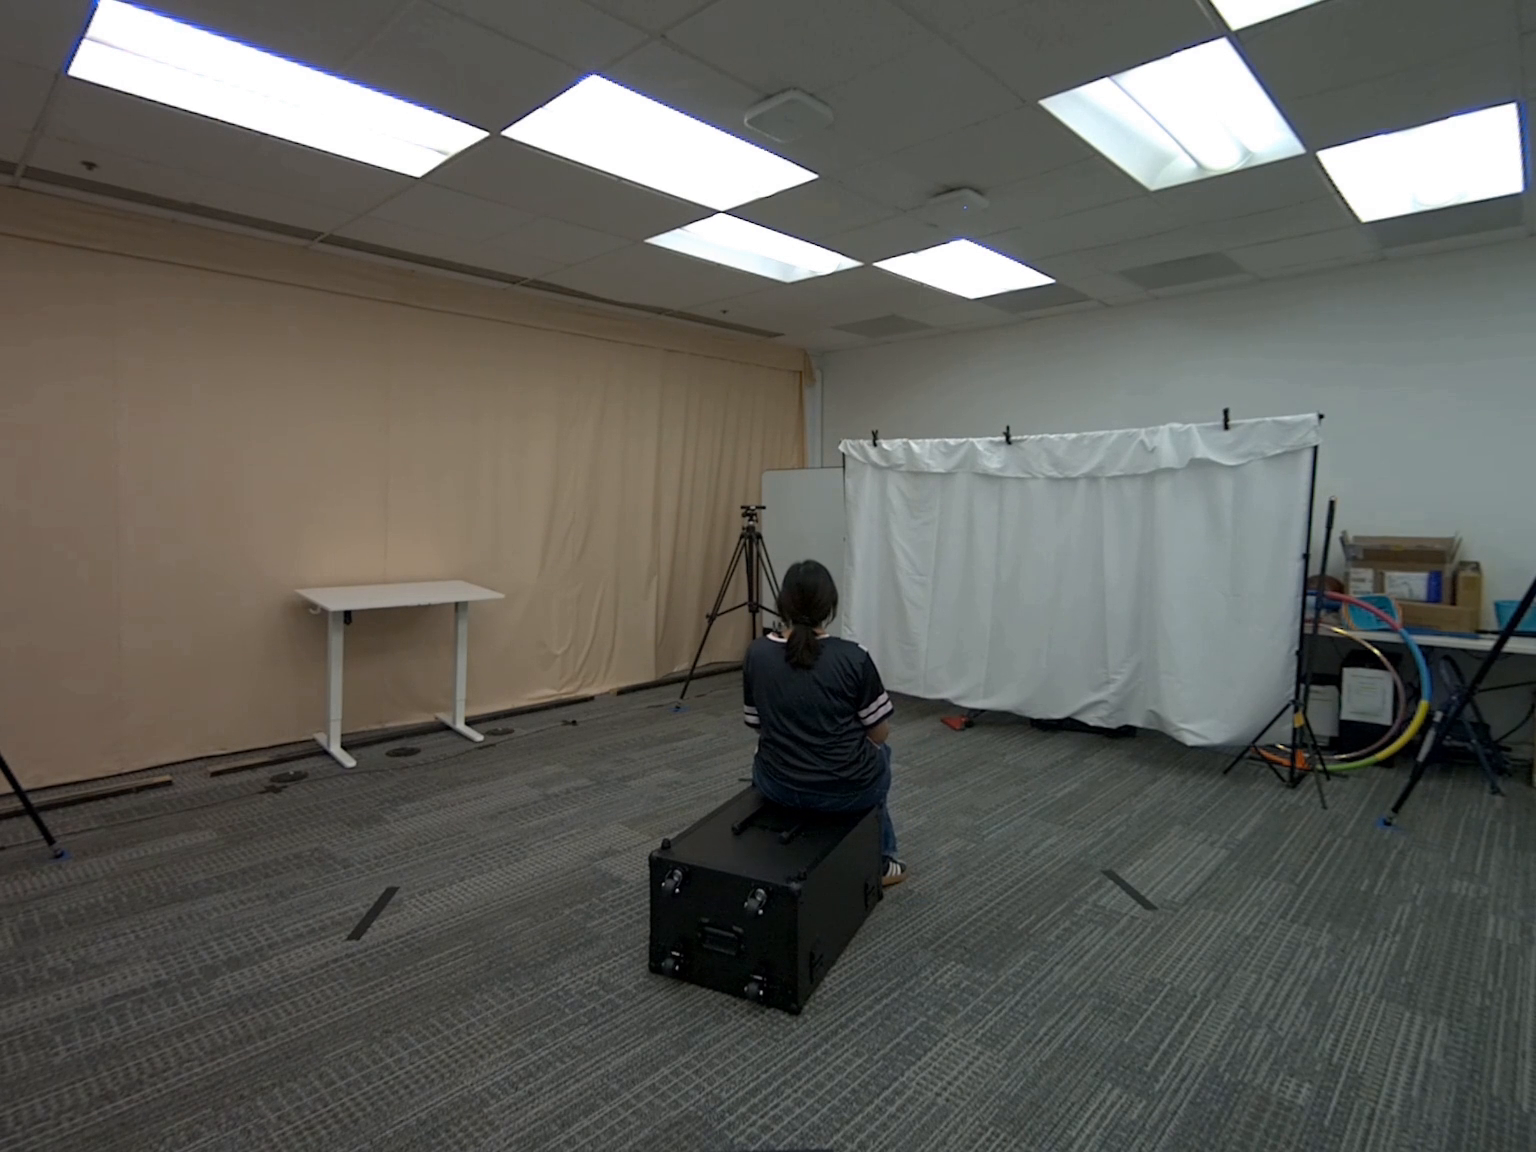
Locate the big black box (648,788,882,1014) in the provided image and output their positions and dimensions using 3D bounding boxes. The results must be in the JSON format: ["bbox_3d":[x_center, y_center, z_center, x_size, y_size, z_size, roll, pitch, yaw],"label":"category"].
[{"bbox_3d":[0.016,0.984,2.700,0.537,0.384,0.848,4,5,25],"label":"big black box"}]
